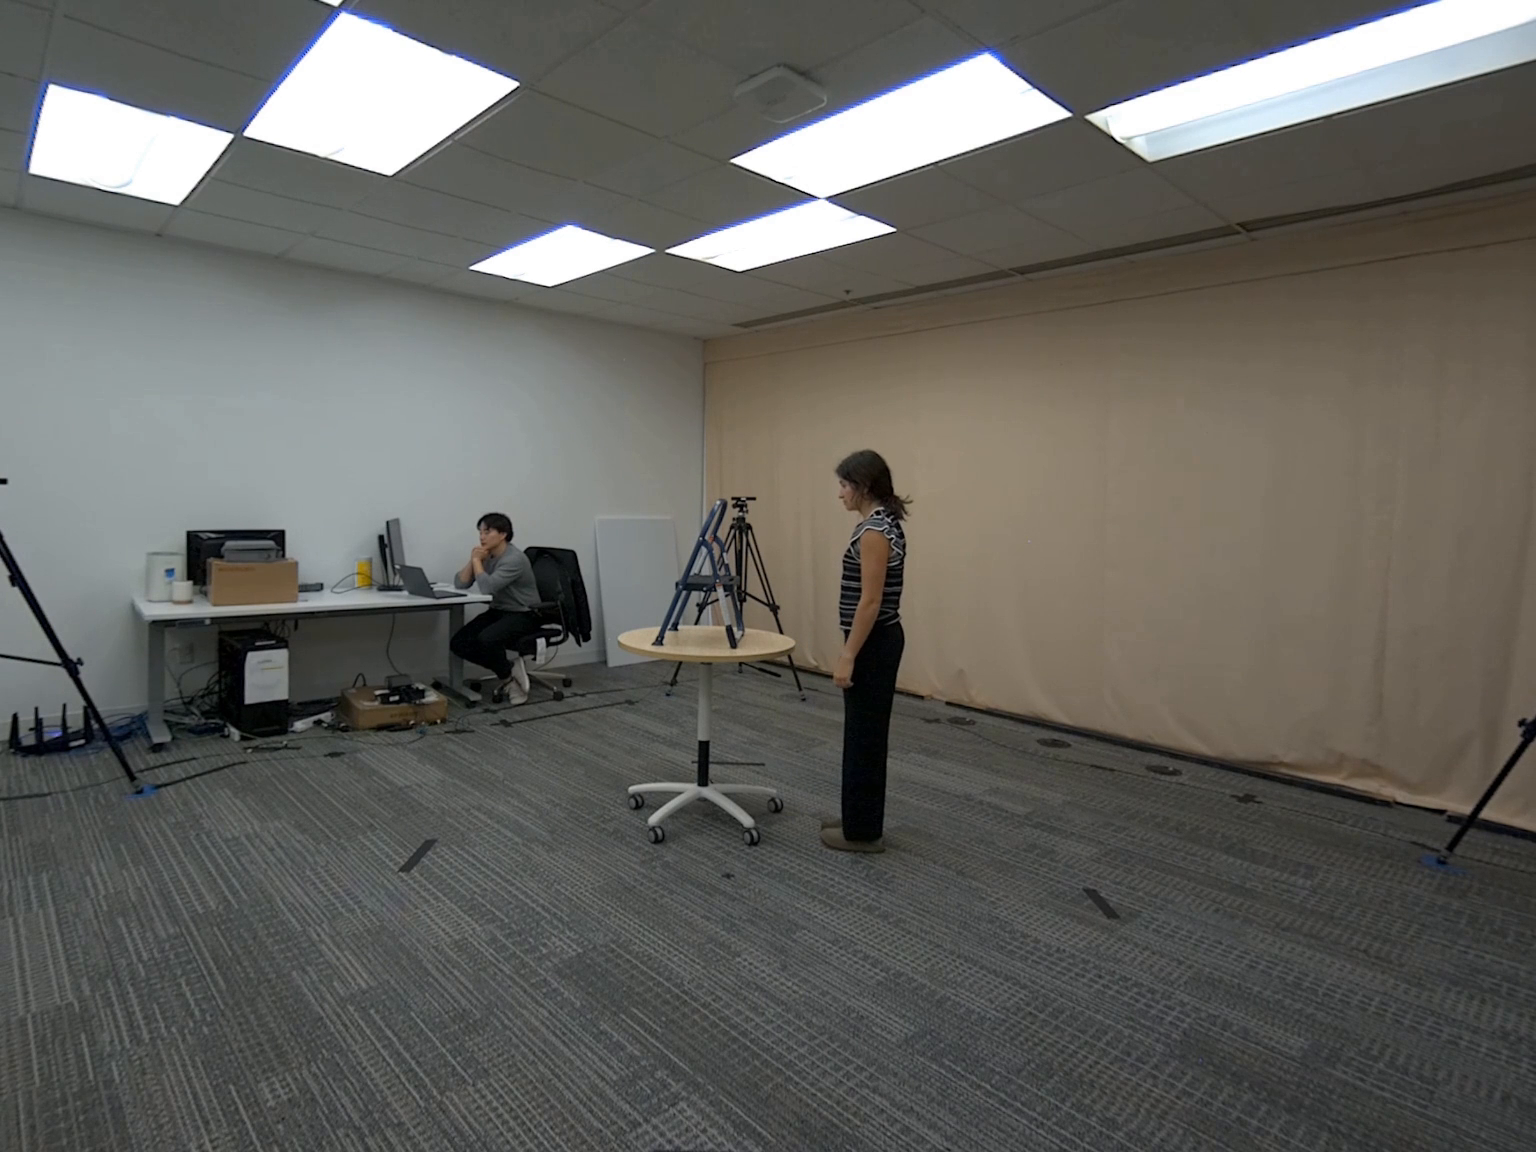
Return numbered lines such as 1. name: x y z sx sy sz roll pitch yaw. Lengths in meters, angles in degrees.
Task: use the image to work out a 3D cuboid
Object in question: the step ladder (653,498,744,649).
1. step ladder: -0.287 -0.020 3.620 0.350 0.603 0.431 3 7 3
